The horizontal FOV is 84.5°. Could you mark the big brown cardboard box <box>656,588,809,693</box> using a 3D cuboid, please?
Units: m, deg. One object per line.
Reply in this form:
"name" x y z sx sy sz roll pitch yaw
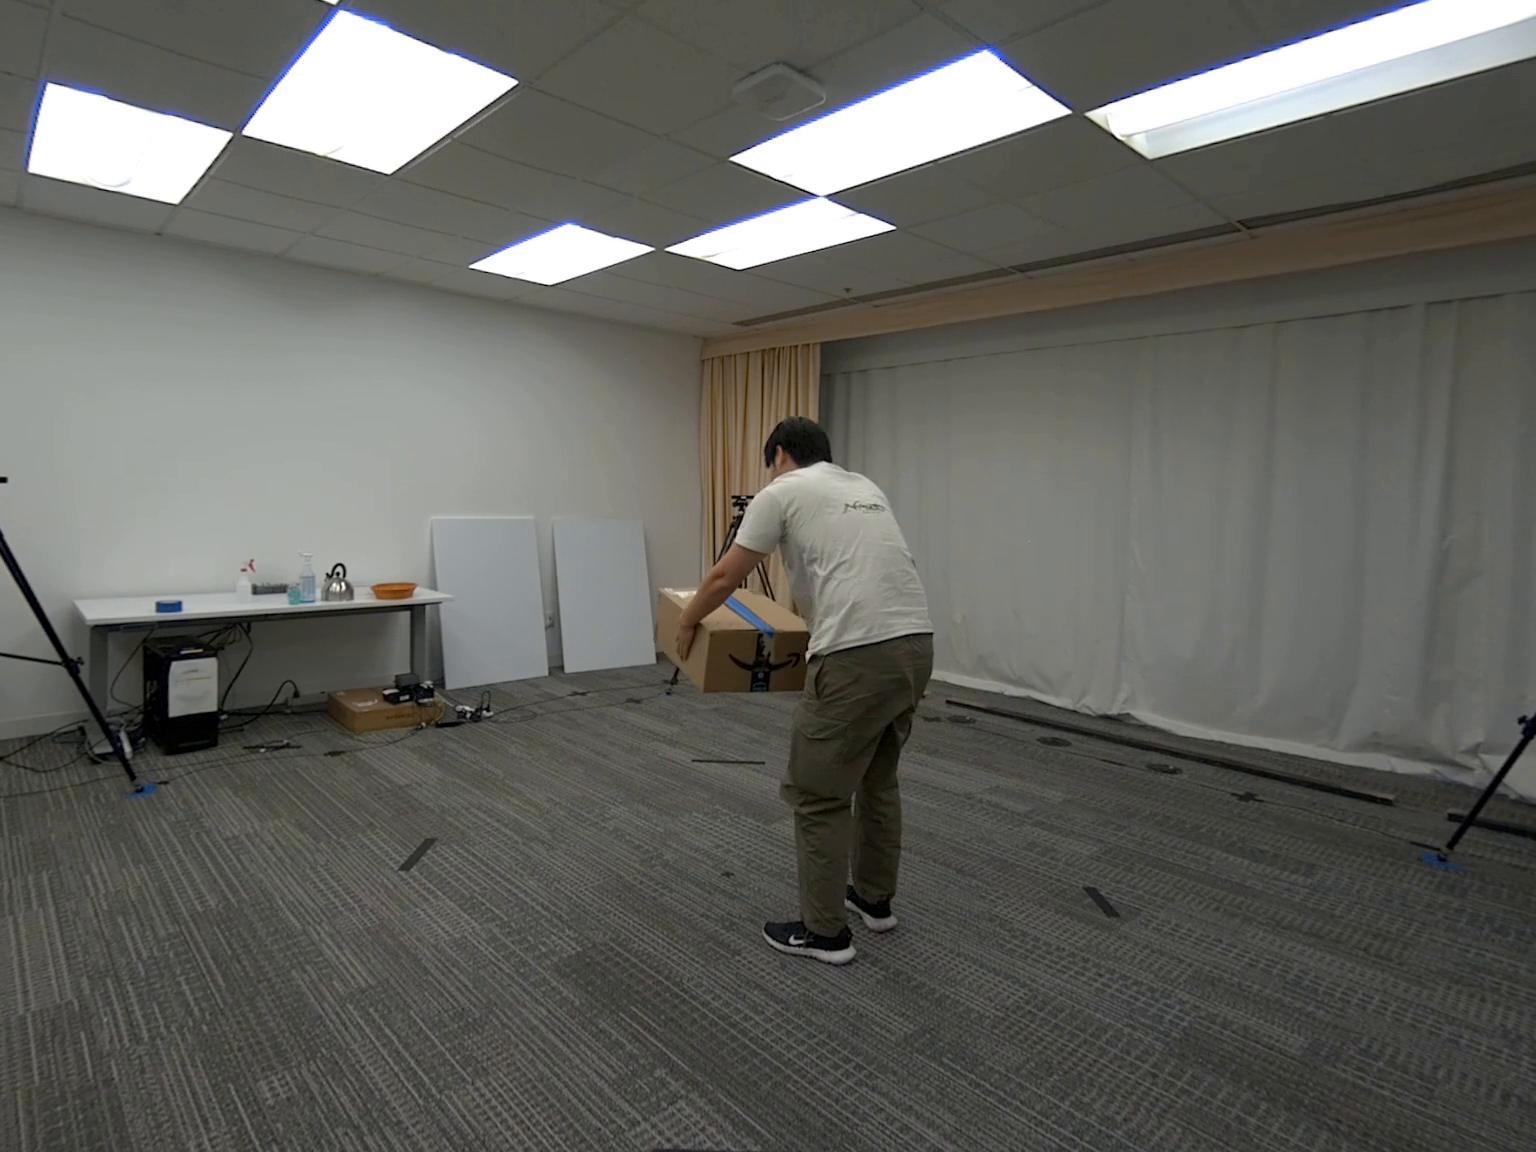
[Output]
"big brown cardboard box" -0.136 0.230 3.080 0.410 0.231 0.604 2 13 -25
